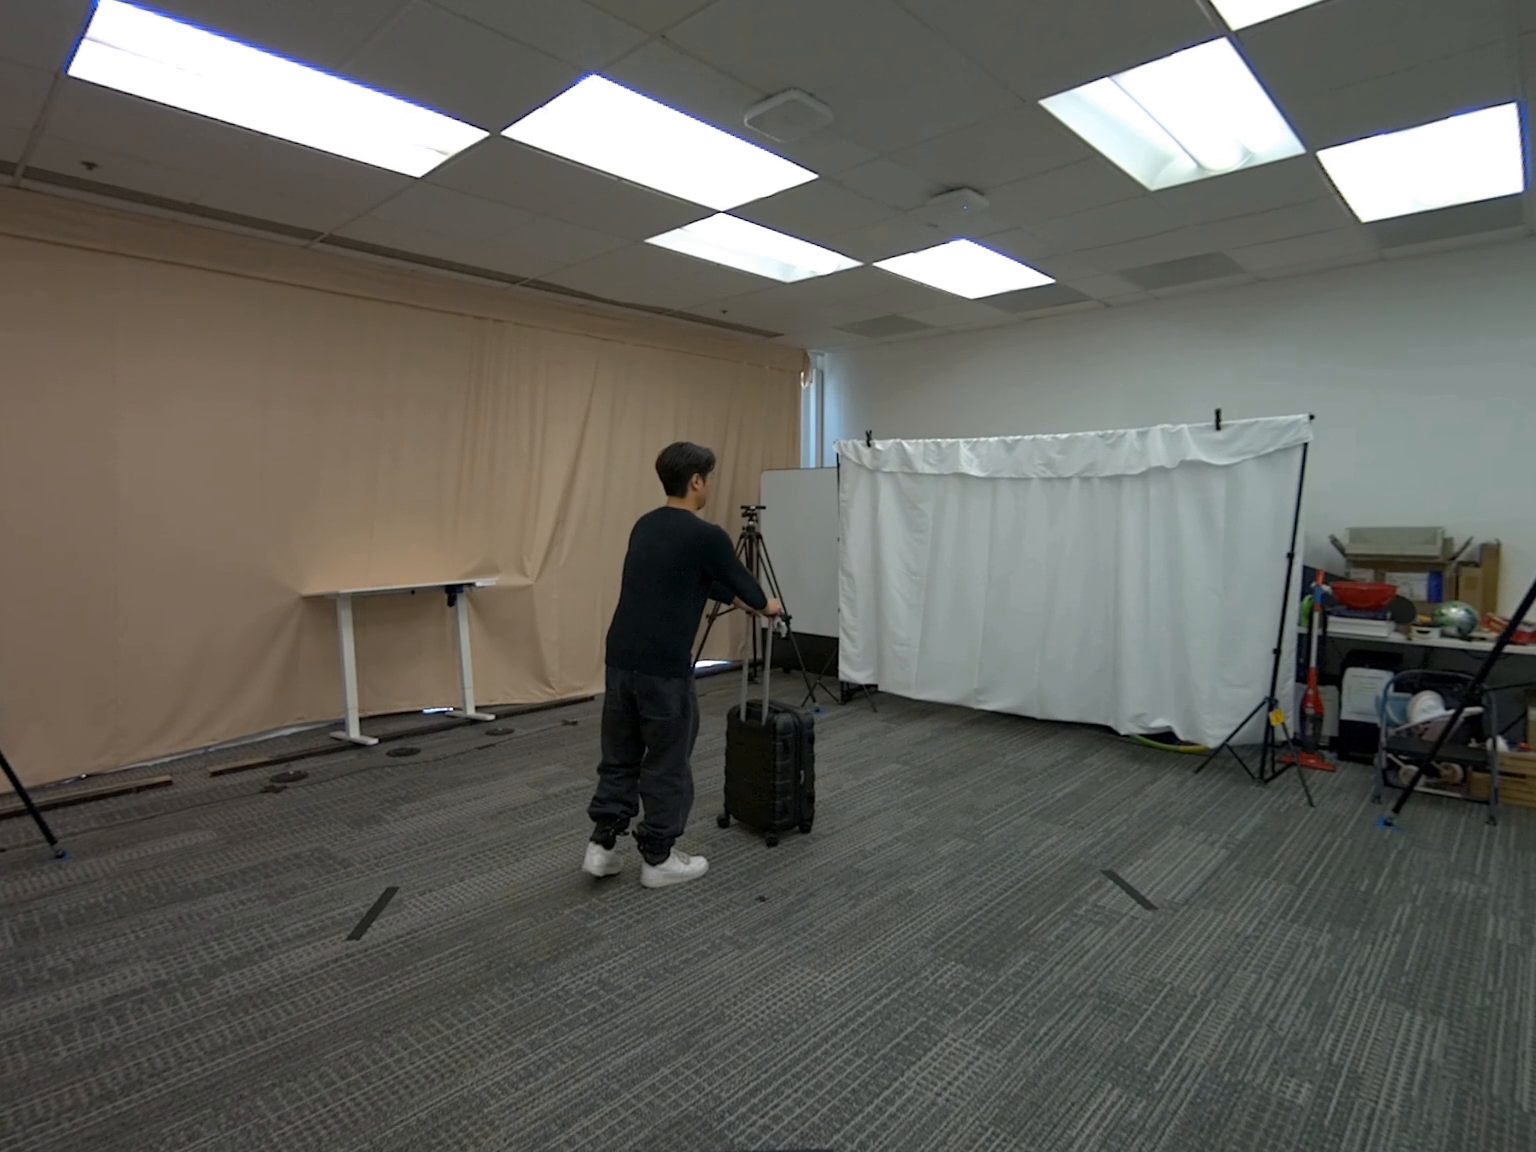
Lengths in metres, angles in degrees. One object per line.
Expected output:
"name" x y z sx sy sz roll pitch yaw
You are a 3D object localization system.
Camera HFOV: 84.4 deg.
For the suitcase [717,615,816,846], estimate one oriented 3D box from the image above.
"suitcase" 0.013 0.616 3.614 0.249 0.978 0.397 2 2 -43
